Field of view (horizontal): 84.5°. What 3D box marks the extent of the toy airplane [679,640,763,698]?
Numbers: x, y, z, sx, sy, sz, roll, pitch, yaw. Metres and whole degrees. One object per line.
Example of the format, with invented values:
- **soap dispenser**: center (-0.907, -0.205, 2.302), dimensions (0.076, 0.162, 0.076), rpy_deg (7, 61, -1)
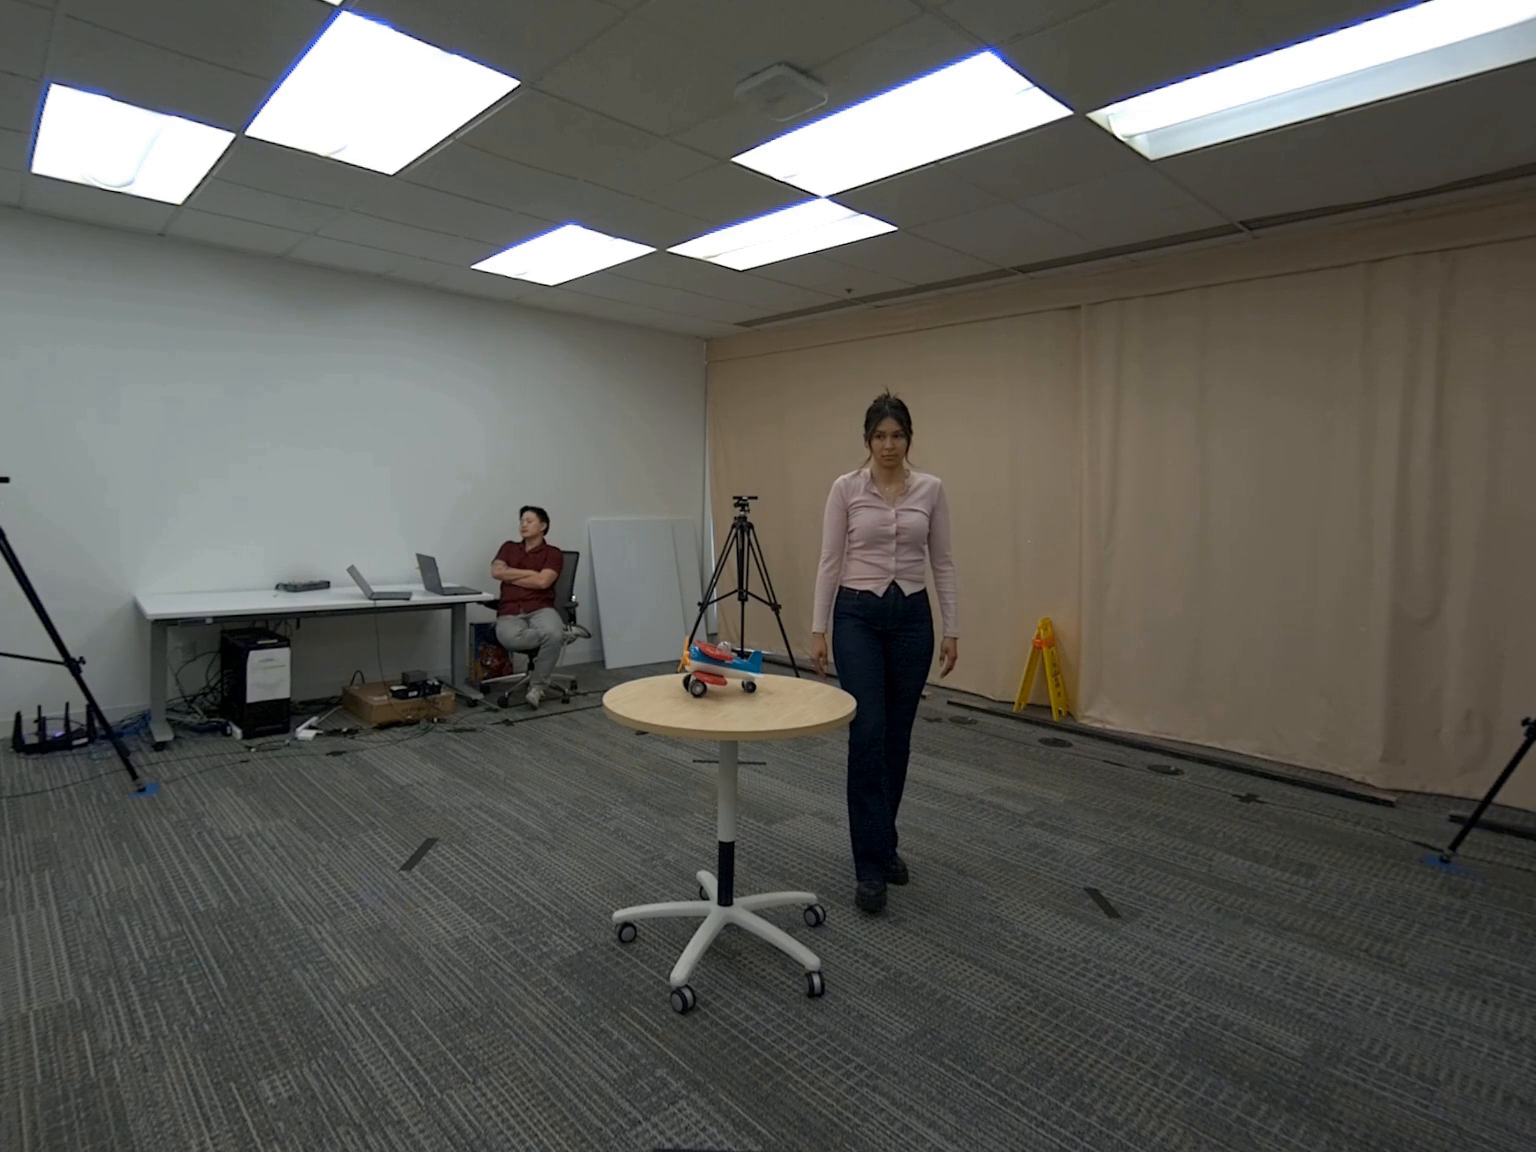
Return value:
- **toy airplane**: center (-0.155, 0.289, 2.627), dimensions (0.253, 0.156, 0.257), rpy_deg (-3, 6, -44)
